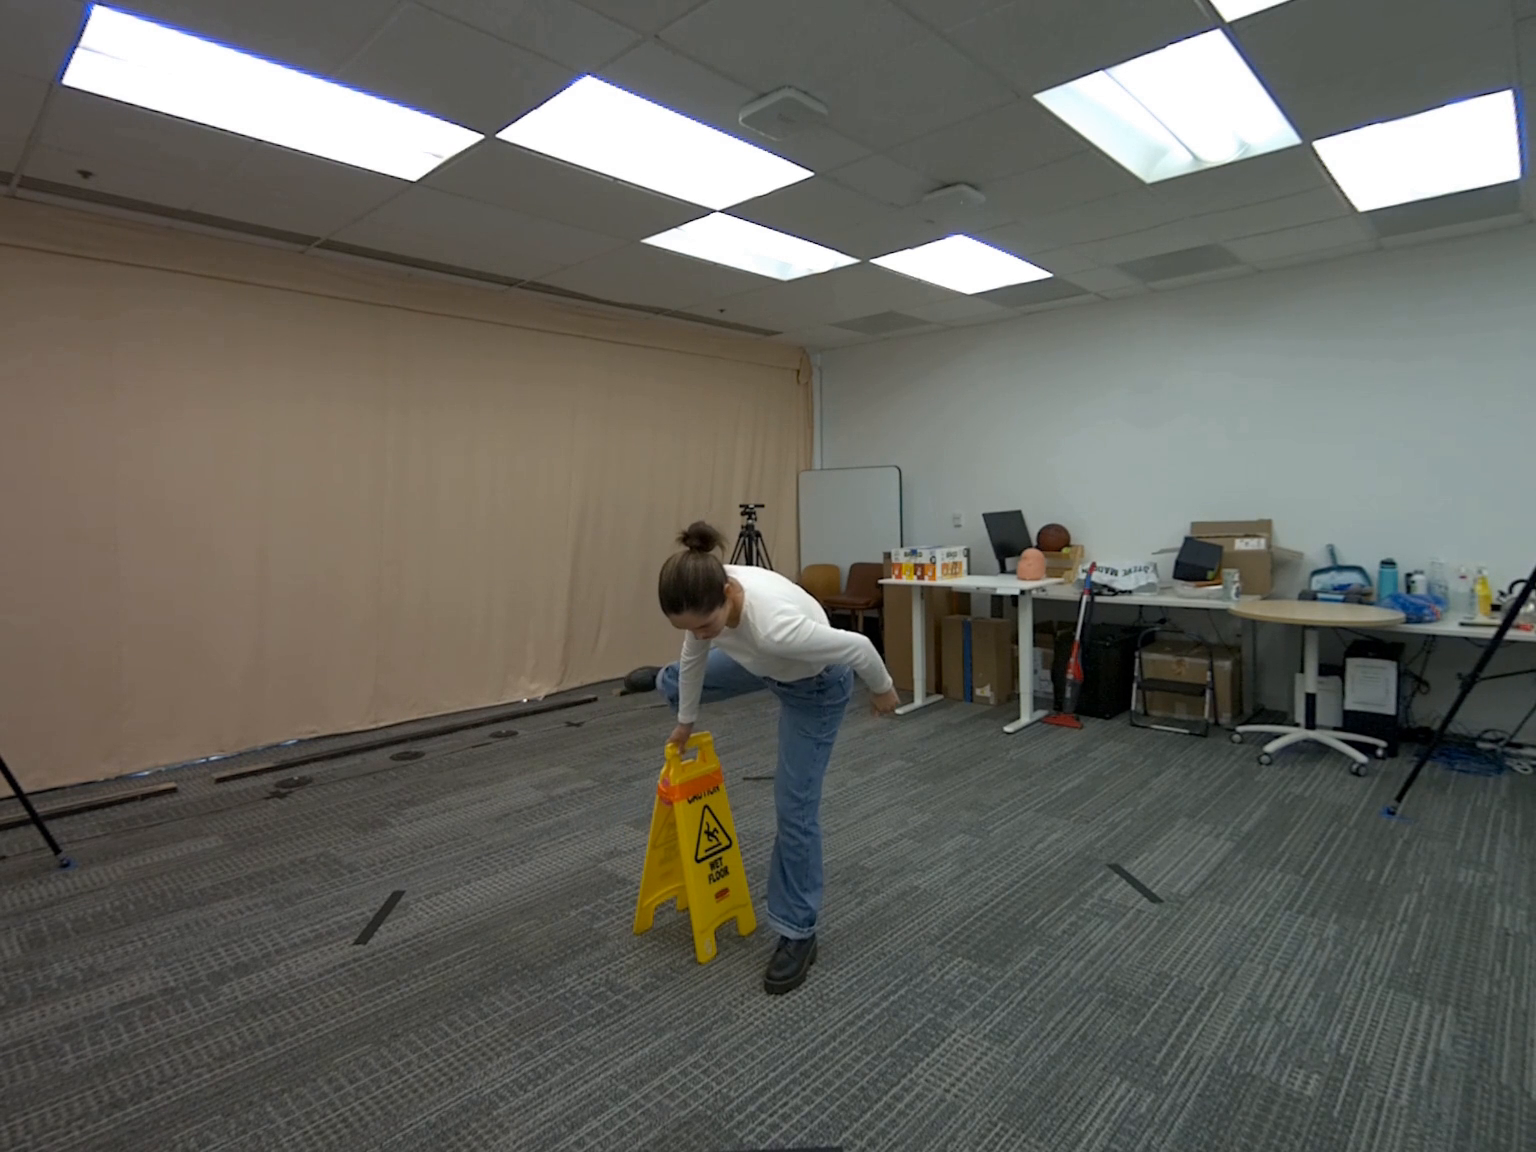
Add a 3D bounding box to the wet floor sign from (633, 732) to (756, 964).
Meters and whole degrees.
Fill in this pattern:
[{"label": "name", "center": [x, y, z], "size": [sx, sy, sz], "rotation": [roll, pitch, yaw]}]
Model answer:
[{"label": "wet floor sign", "center": [-0.249, 0.845, 2.737], "size": [0.299, 0.645, 0.274], "rotation": [1, 4, 40]}]
